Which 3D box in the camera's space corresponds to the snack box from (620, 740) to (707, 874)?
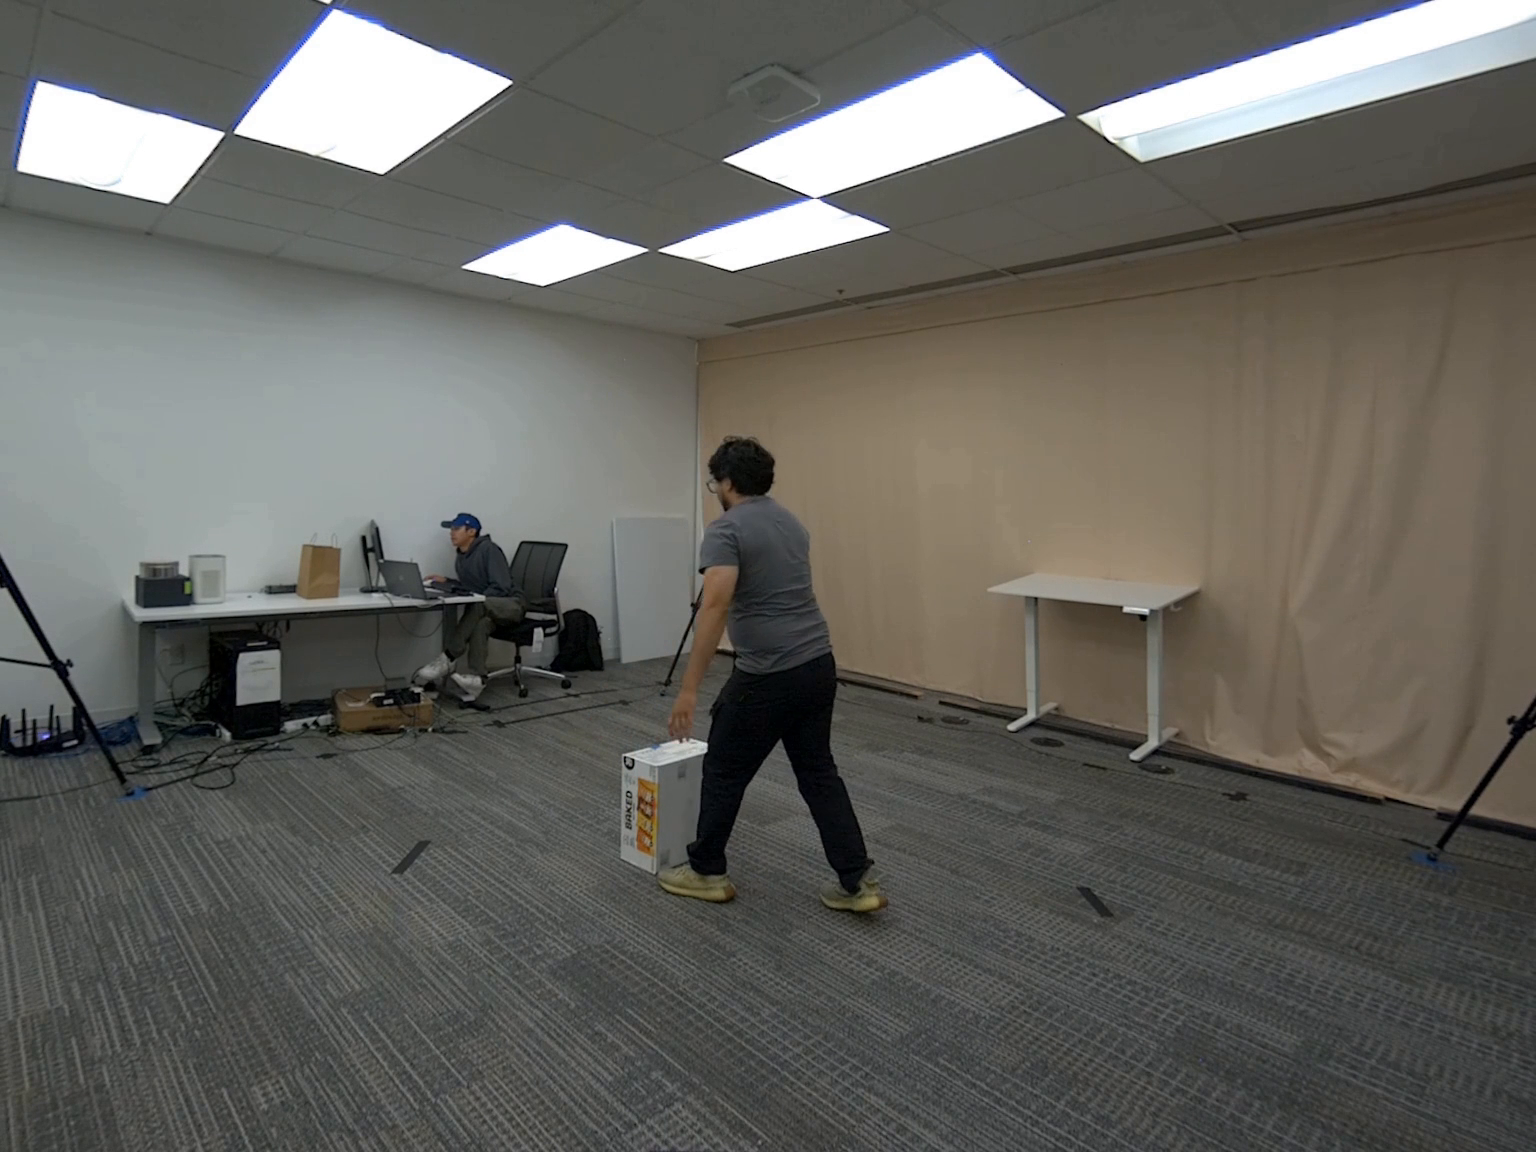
[{"bbox_3d":[-0.381,0.883,3.277,0.211,0.404,0.332,4,4,41],"label":"snack box"}]
